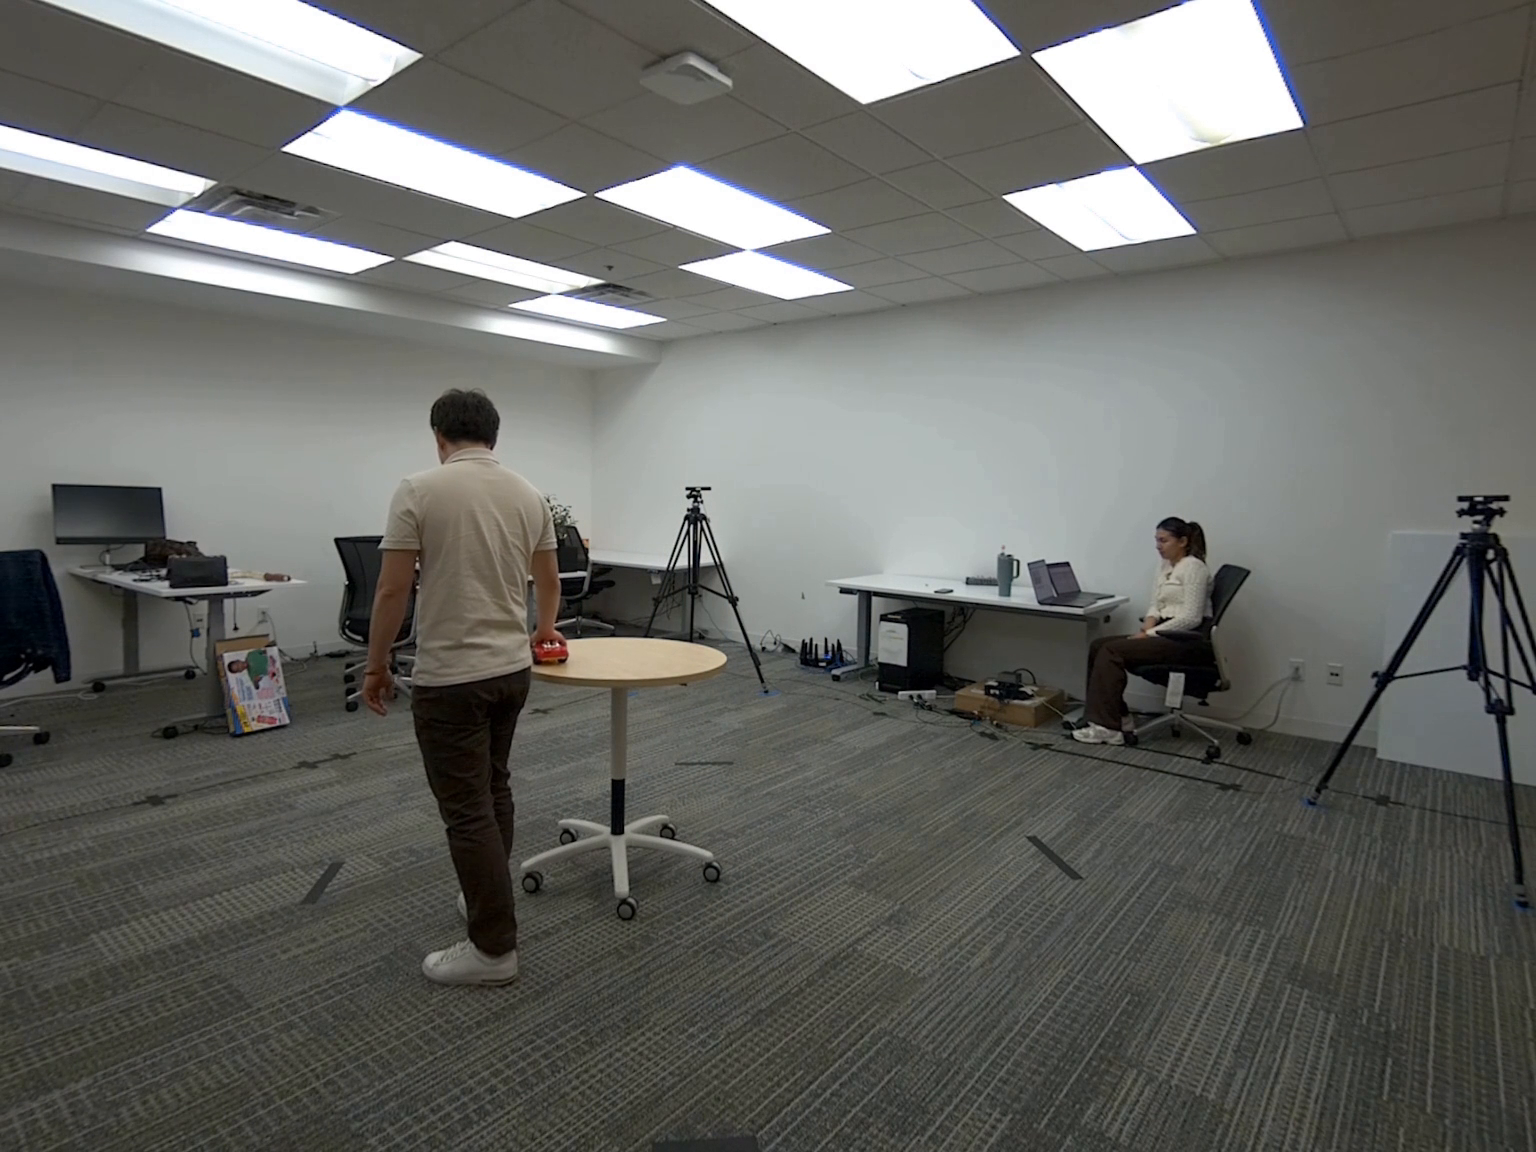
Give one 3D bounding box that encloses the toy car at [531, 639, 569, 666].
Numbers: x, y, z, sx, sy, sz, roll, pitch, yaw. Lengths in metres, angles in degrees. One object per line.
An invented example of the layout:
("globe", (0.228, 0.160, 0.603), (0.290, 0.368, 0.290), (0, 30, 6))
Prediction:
("toy car", (-0.778, 0.261, 2.923), (0.127, 0.084, 0.259), (-1, -8, -29))
